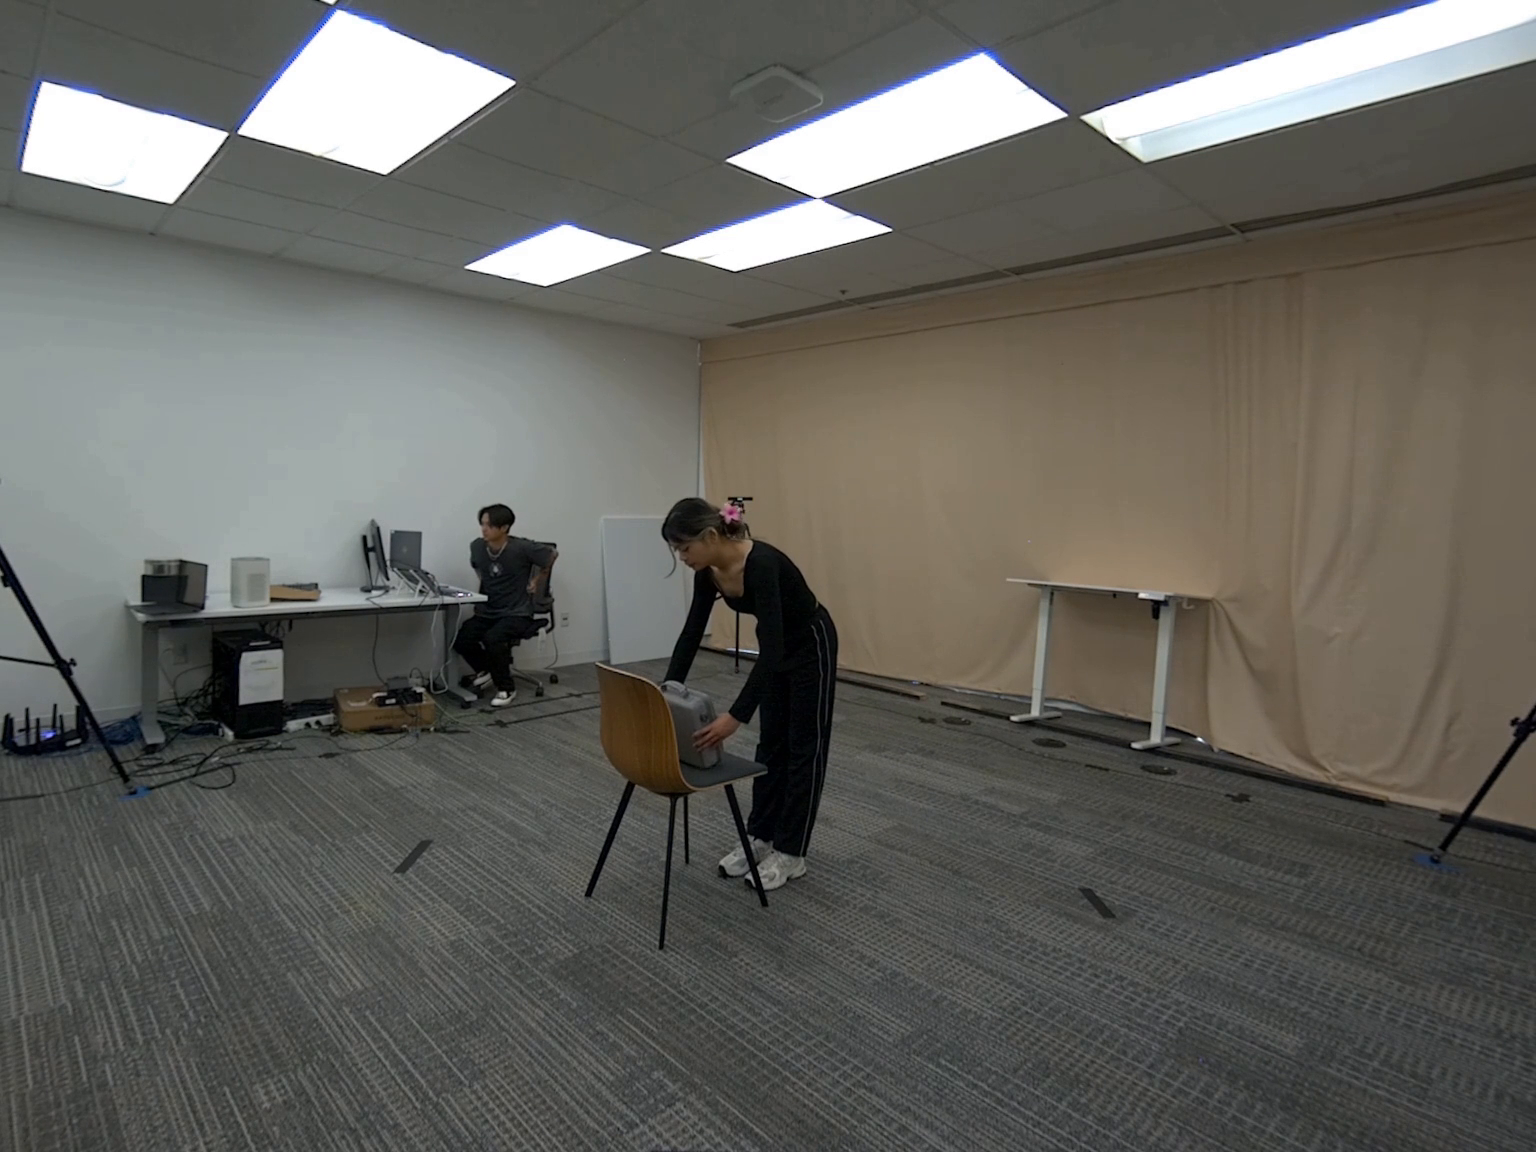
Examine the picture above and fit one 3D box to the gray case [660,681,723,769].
[{"bbox_3d":[-0.289,0.504,2.884,0.263,0.257,0.103,3,20,45],"label":"gray case"}]
